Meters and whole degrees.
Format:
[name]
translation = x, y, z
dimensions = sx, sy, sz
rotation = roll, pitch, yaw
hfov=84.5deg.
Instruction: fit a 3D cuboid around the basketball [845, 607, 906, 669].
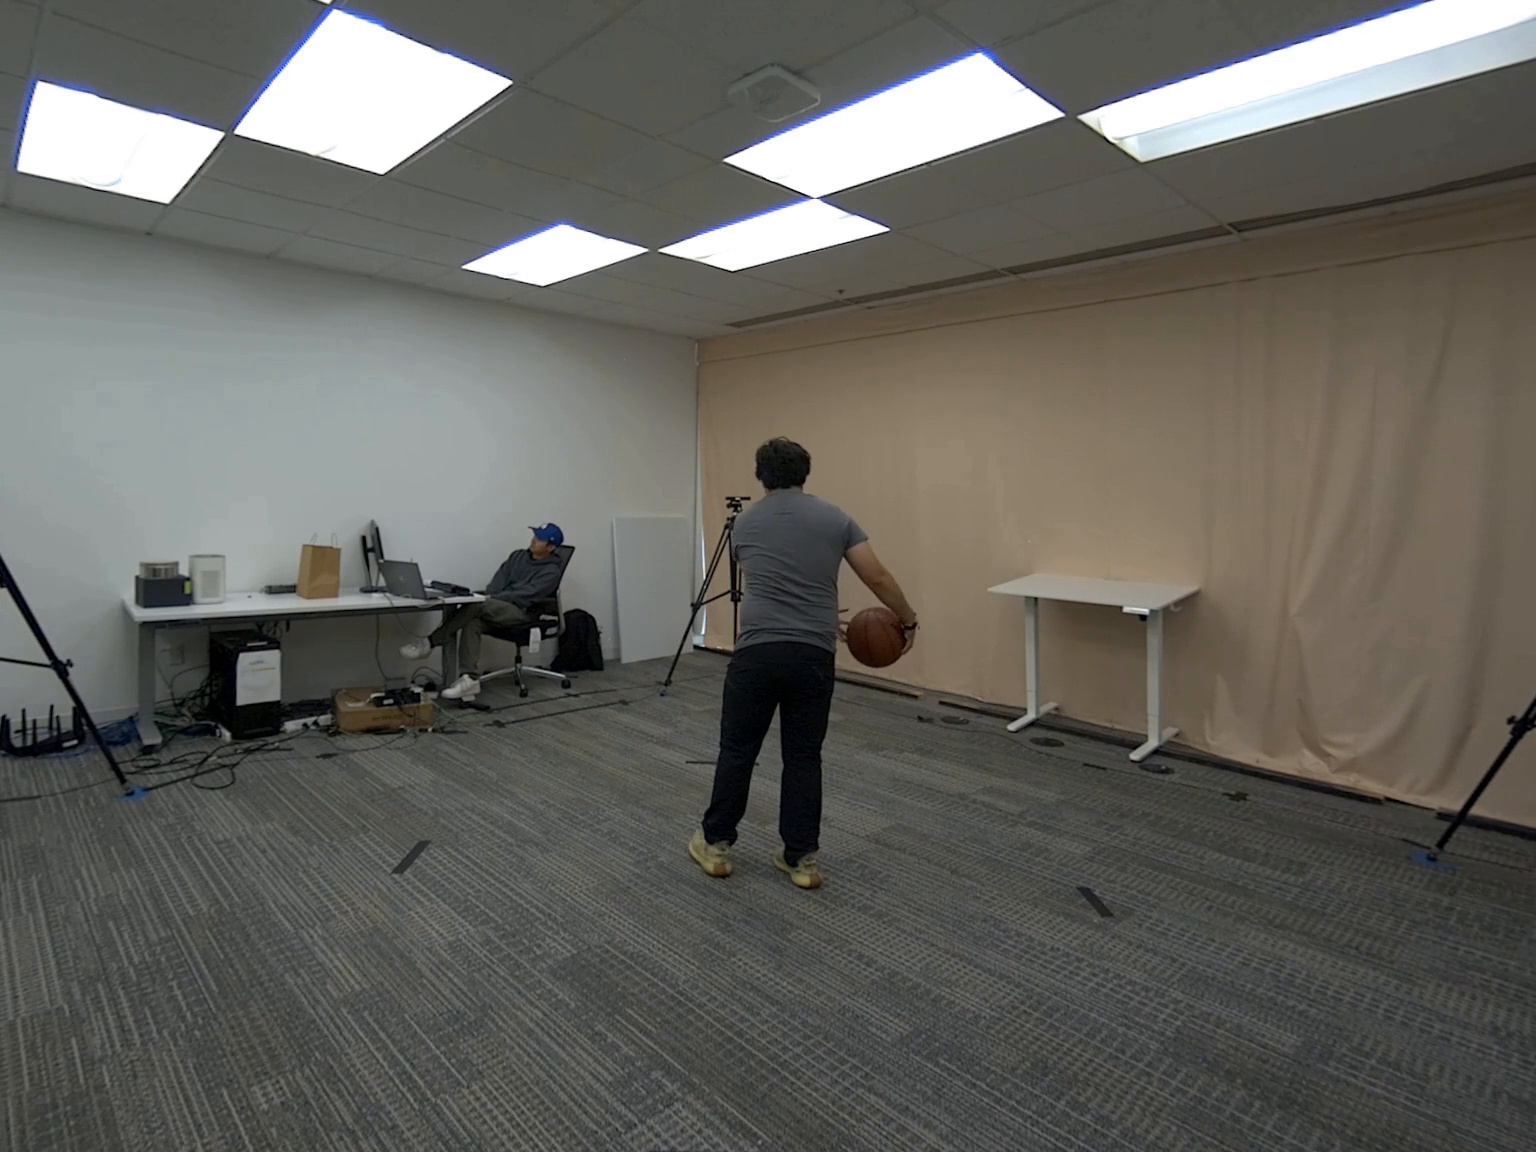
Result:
[basketball]
translation = 0.413, 0.241, 3.320
dimensions = 0.236, 0.235, 0.237
rotation = 1, 4, -1
